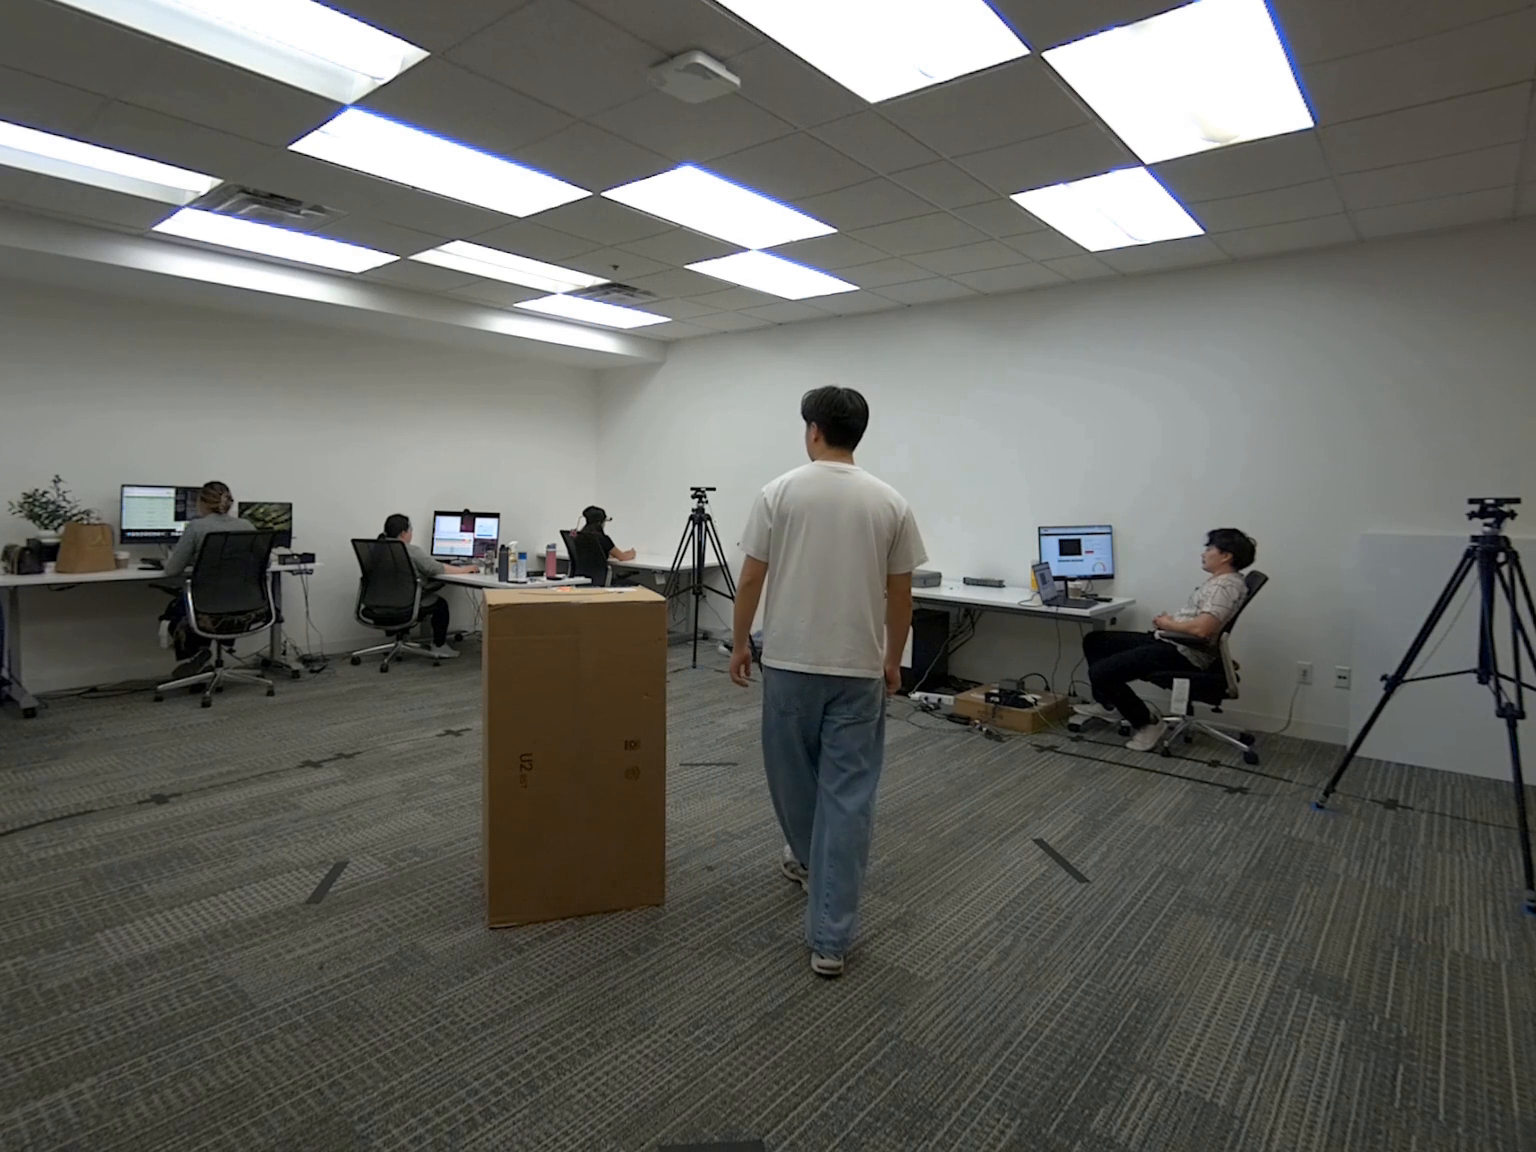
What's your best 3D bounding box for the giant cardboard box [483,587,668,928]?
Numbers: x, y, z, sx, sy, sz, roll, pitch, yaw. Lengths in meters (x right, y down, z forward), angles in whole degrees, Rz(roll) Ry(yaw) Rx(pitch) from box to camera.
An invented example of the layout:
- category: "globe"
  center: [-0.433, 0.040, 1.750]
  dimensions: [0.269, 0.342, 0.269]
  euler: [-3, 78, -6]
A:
- category: "giant cardboard box"
  center: [-0.686, 0.568, 2.916]
  dimensions: [0.566, 1.023, 0.436]
  euler: [-1, 3, -21]
